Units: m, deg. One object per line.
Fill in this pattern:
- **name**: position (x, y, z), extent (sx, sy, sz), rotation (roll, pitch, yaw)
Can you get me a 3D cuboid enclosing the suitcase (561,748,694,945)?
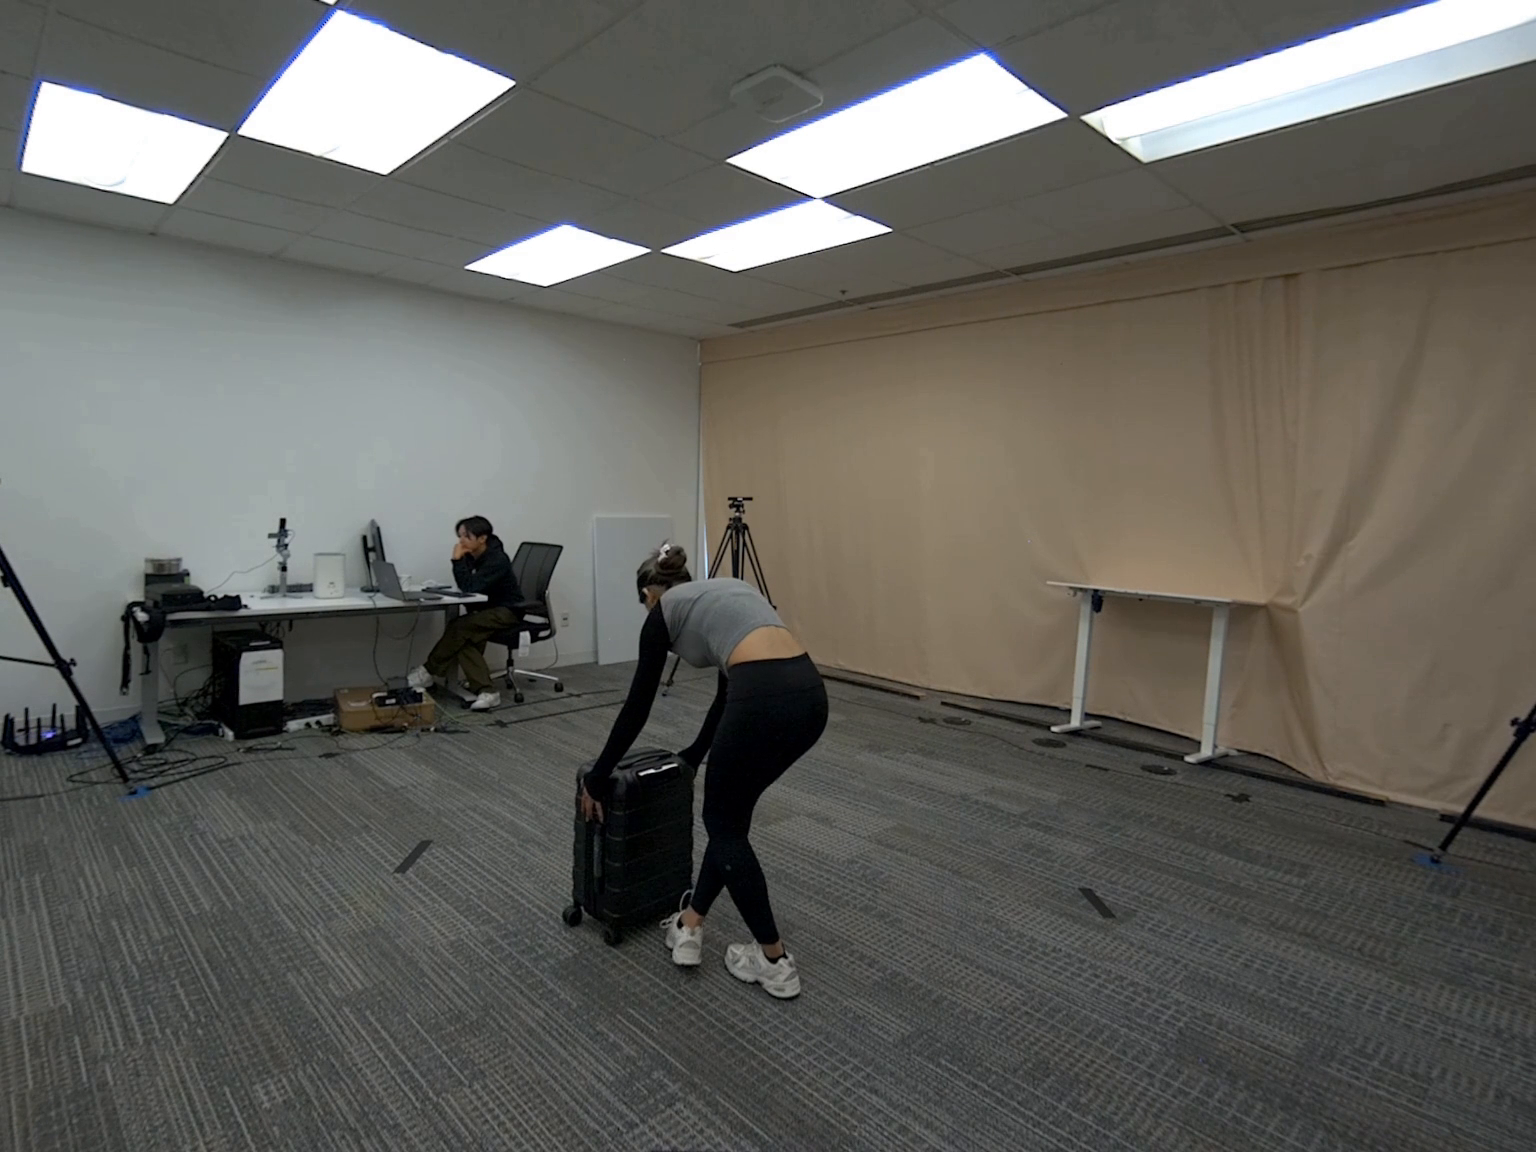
- **suitcase**: position (-0.449, 0.859, 2.757), extent (0.255, 0.548, 0.367), rotation (6, 5, 44)
